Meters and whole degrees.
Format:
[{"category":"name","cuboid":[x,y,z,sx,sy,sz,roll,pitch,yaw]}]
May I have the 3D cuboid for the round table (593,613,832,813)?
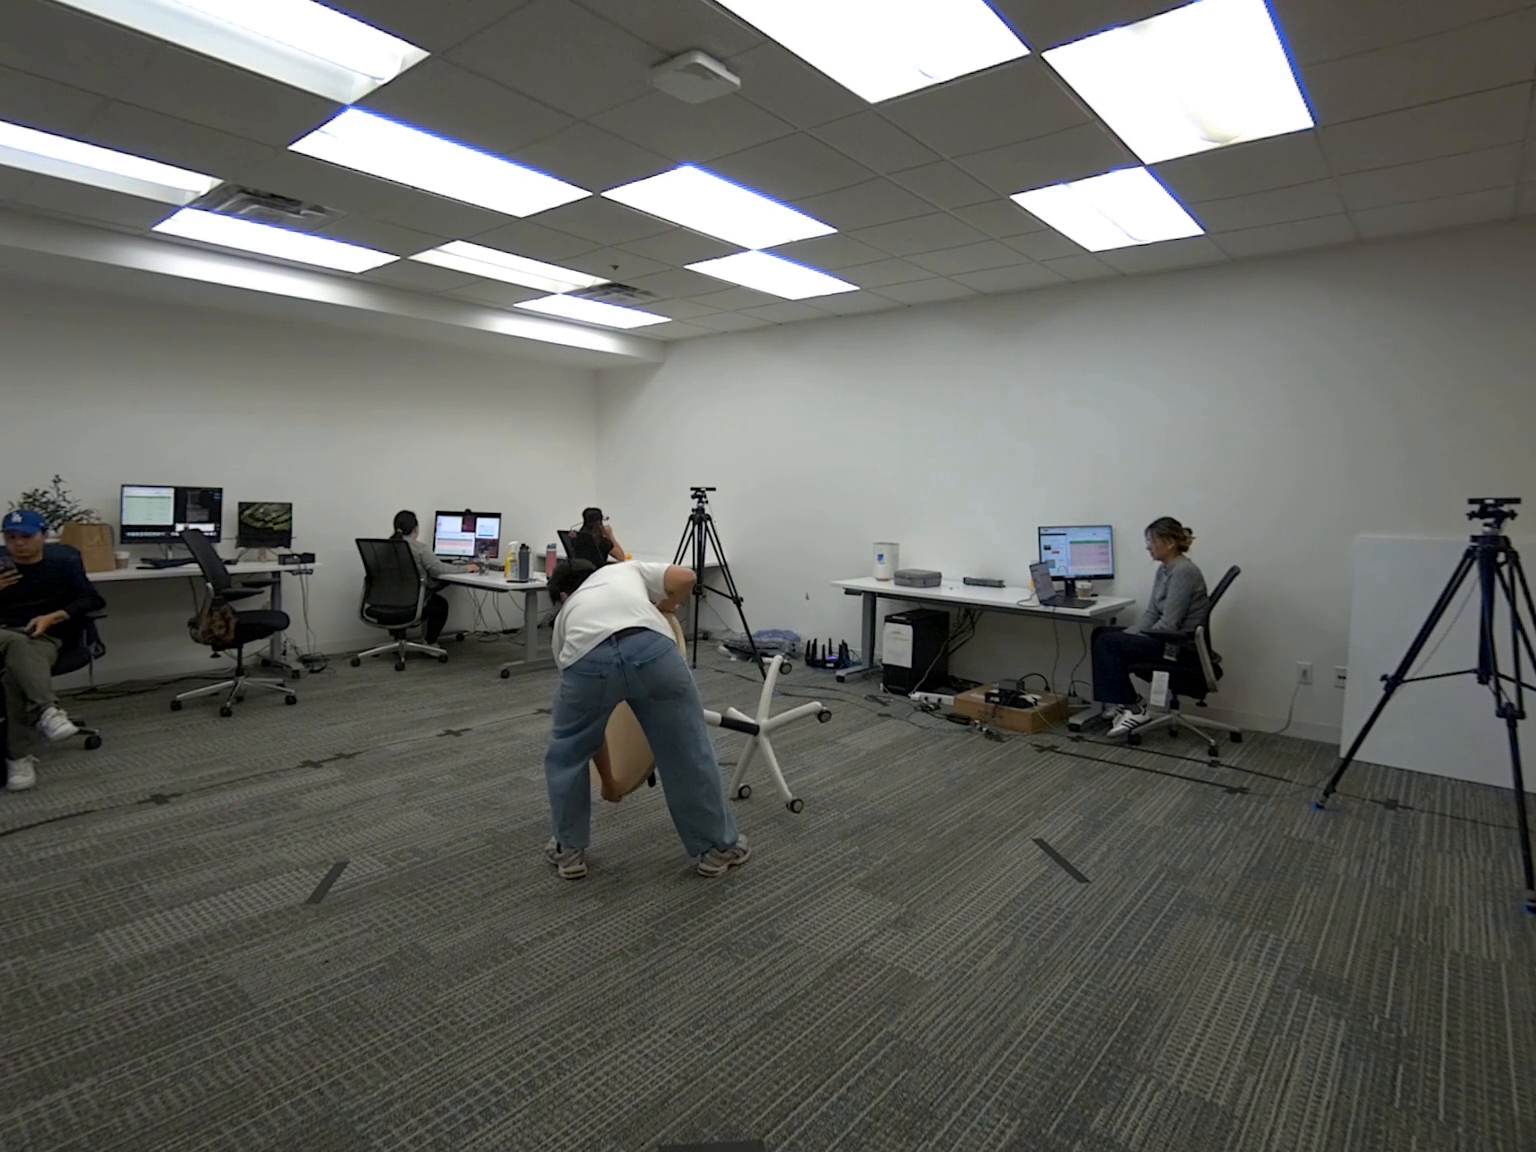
[{"category":"round table","cuboid":[-0.263,0.599,3.604,0.767,0.767,0.787,20,-7,-31]}]
